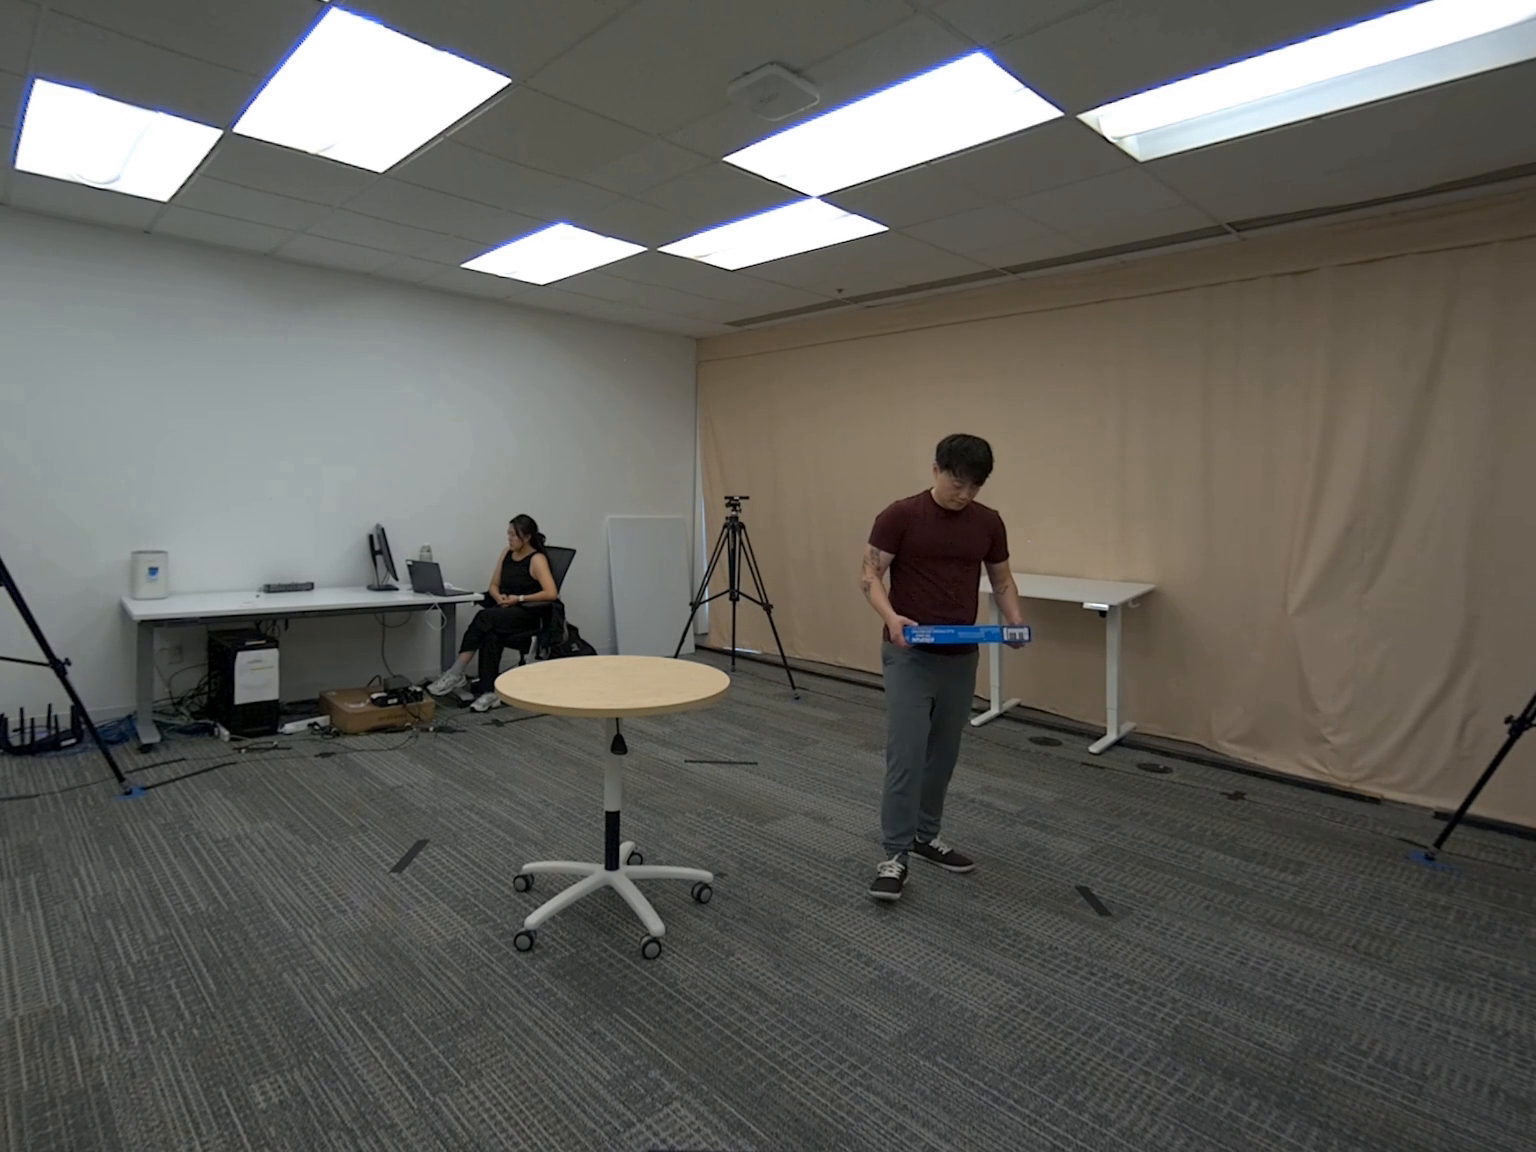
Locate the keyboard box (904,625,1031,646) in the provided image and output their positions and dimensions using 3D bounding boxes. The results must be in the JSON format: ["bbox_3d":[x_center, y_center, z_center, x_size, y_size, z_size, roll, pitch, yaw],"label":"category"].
[{"bbox_3d":[0.673,0.203,2.971,0.433,0.059,0.176,-2,-5,-11],"label":"keyboard box"}]
